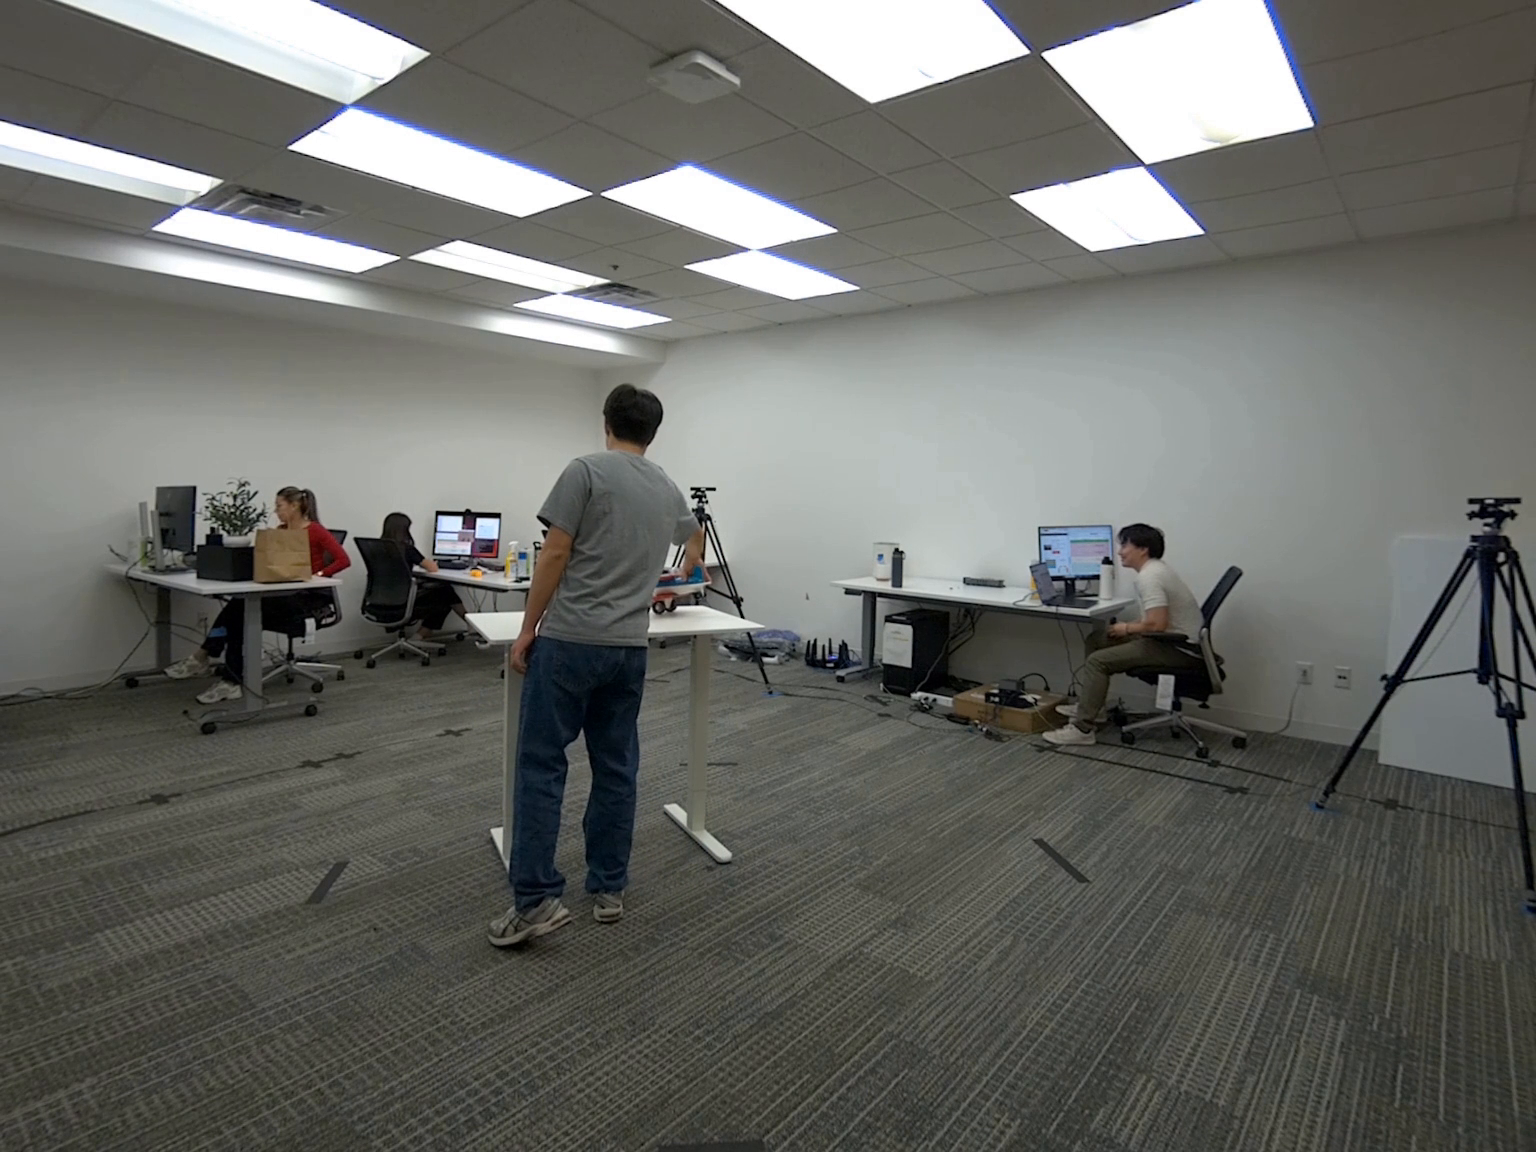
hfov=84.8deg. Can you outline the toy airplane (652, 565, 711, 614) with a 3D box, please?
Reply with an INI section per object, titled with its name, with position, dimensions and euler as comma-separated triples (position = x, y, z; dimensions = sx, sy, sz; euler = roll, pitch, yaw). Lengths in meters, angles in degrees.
[toy airplane]
position = -0.374, 0.048, 3.433
dimensions = 0.259, 0.158, 0.249
euler = -19, -5, -1
